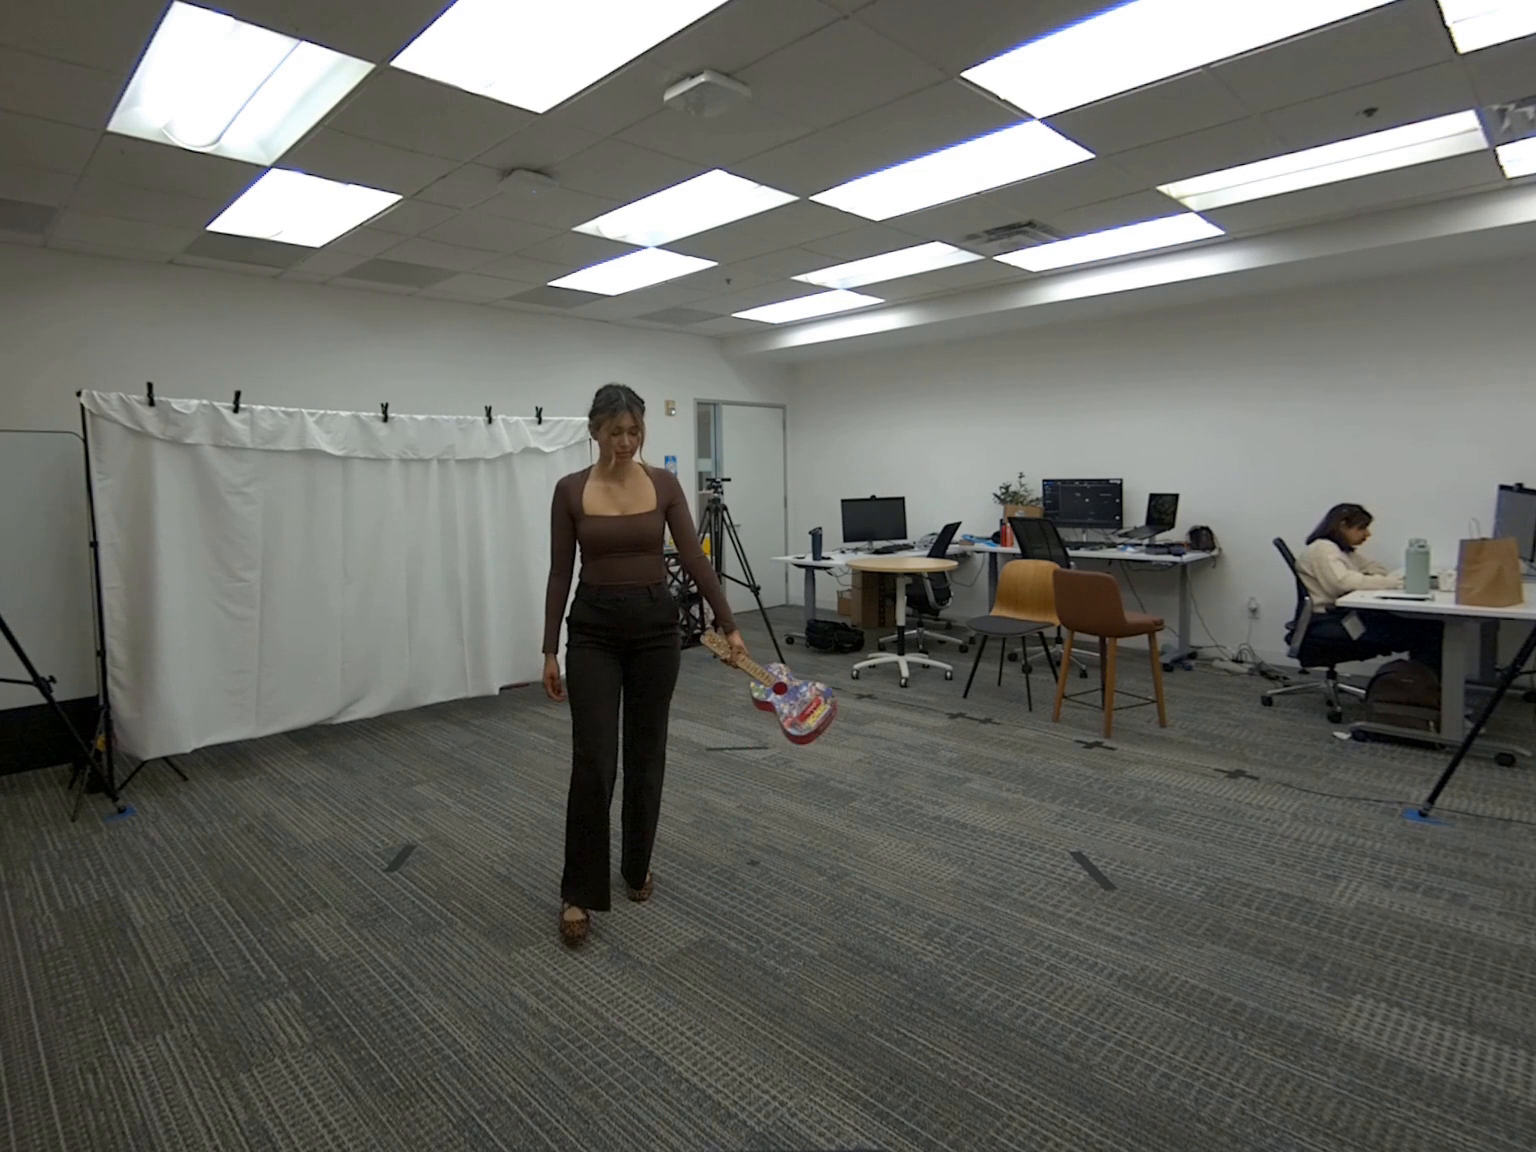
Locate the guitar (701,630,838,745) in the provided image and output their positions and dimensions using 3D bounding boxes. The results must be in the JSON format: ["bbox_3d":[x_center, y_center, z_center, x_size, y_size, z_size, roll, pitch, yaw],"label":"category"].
[{"bbox_3d":[-0.003,0.309,2.680,0.192,0.068,0.516,-37,54,-20],"label":"guitar"}]
